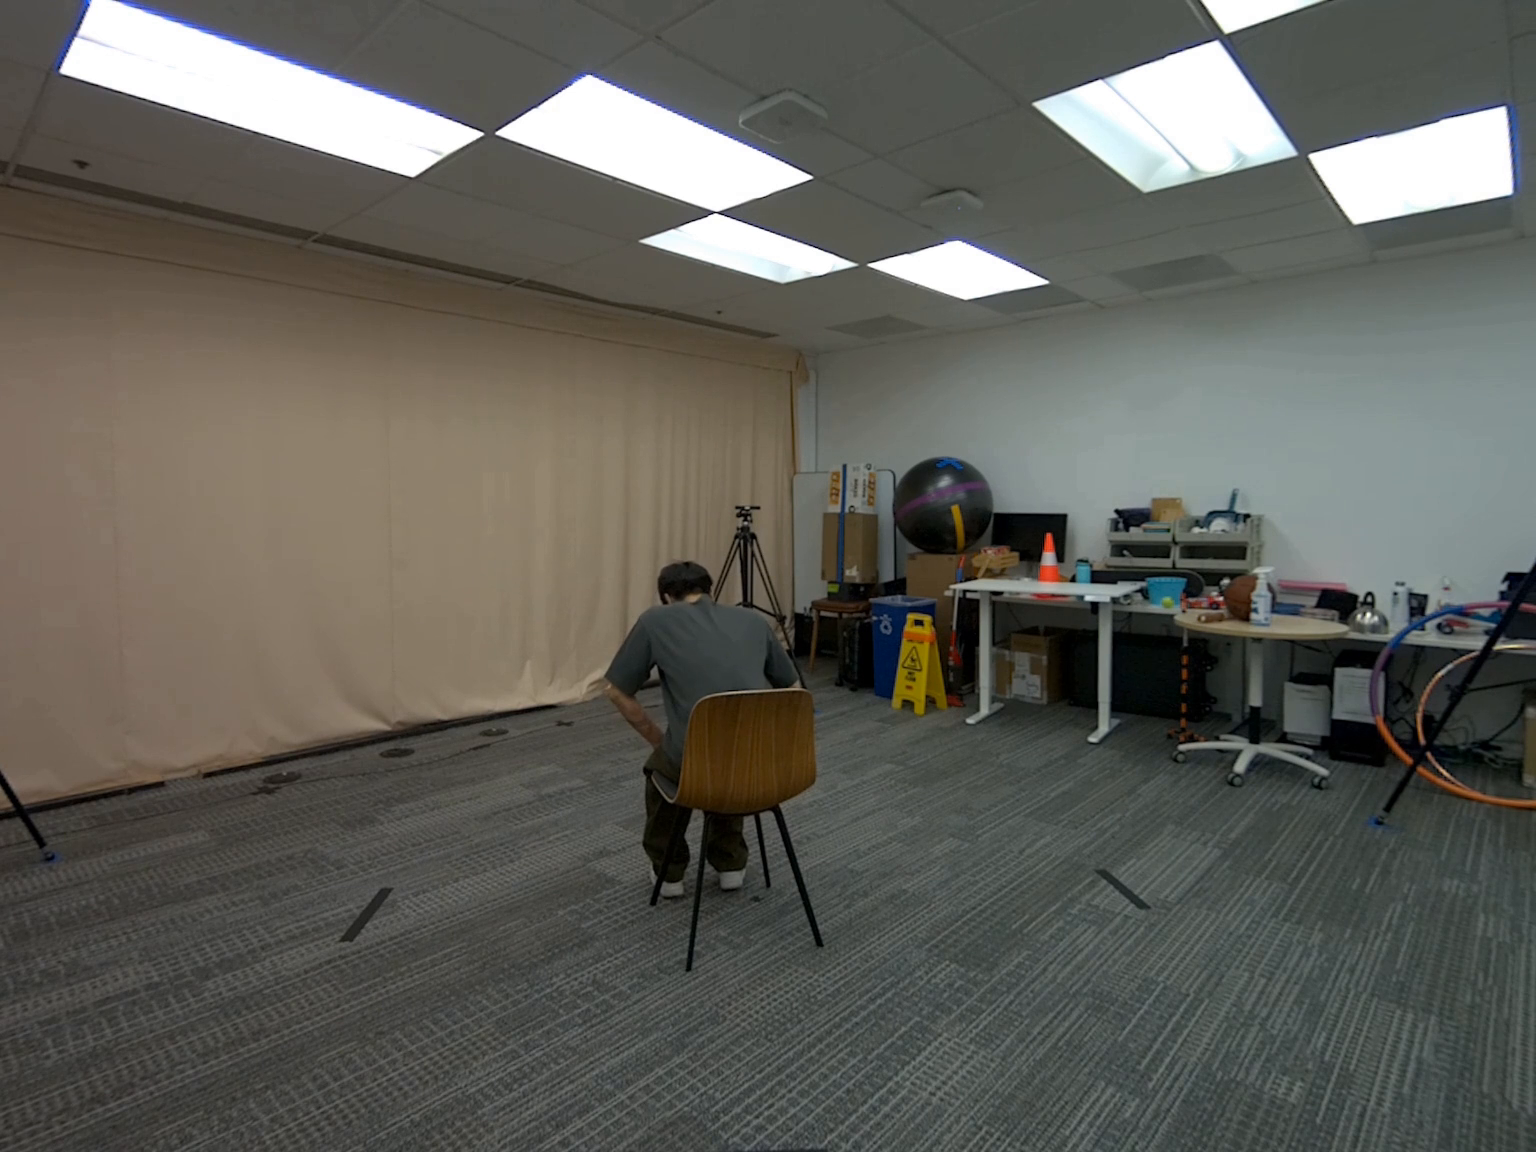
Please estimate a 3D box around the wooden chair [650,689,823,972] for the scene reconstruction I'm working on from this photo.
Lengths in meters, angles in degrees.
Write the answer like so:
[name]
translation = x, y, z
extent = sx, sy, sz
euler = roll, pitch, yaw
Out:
[wooden chair]
translation = -0.122, 0.734, 2.778
extent = 0.469, 0.874, 0.536
euler = -2, 7, -20
